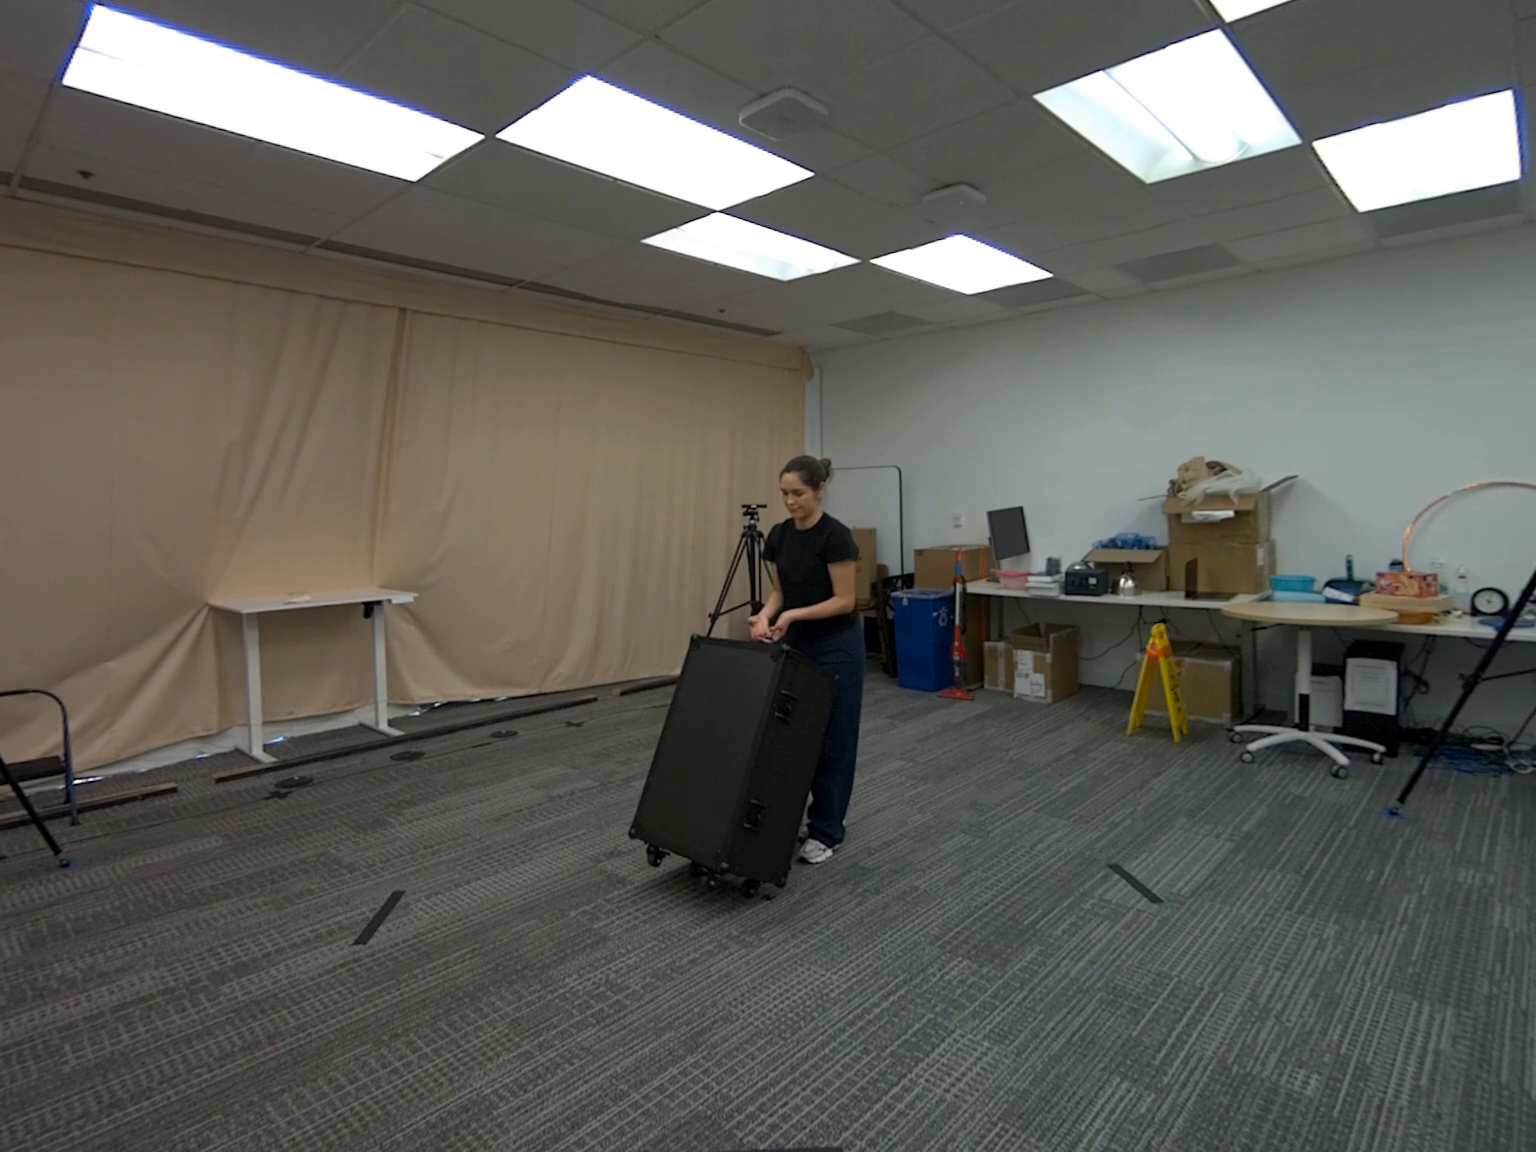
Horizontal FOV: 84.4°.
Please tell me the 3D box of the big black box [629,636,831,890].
[{"bbox_3d":[-0.116,0.704,3.137,0.538,0.865,0.382,2,-23,41],"label":"big black box"}]
